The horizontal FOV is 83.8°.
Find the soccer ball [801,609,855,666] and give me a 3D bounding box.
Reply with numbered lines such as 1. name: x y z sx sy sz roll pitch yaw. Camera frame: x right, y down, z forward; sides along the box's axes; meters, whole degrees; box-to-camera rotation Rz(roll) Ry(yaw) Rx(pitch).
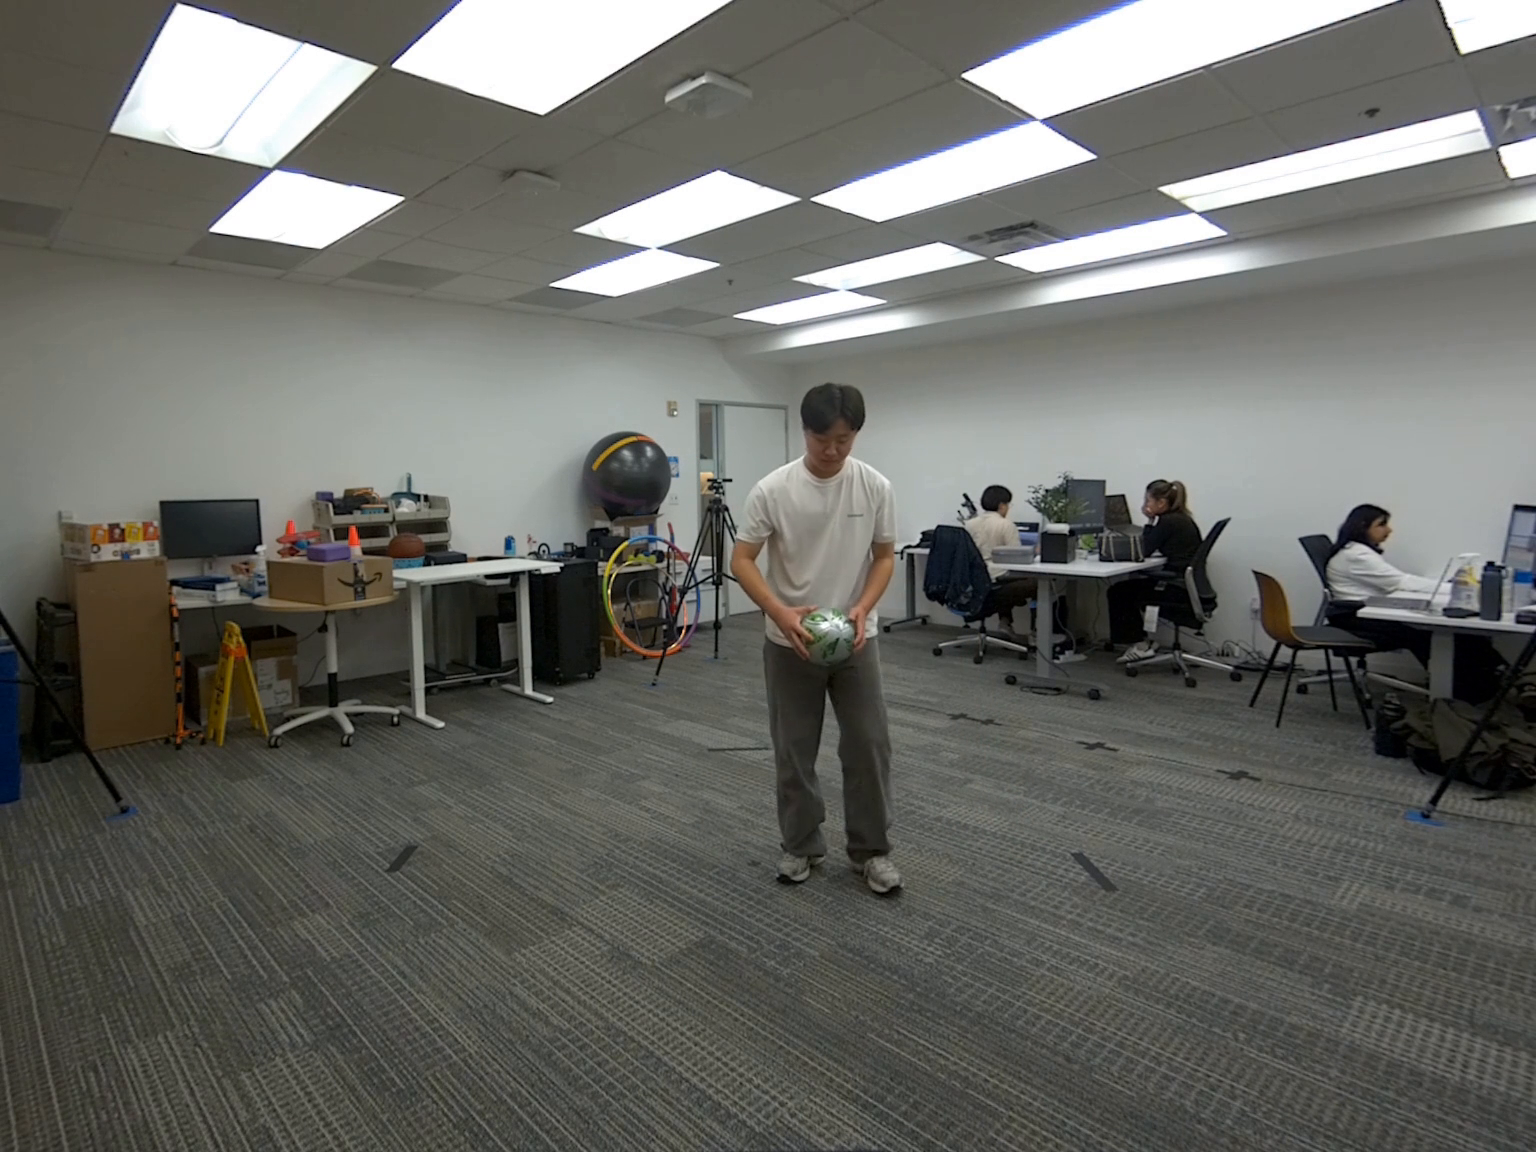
1. soccer ball: 0.191 0.205 2.759 0.187 0.187 0.188 -1 5 -2
